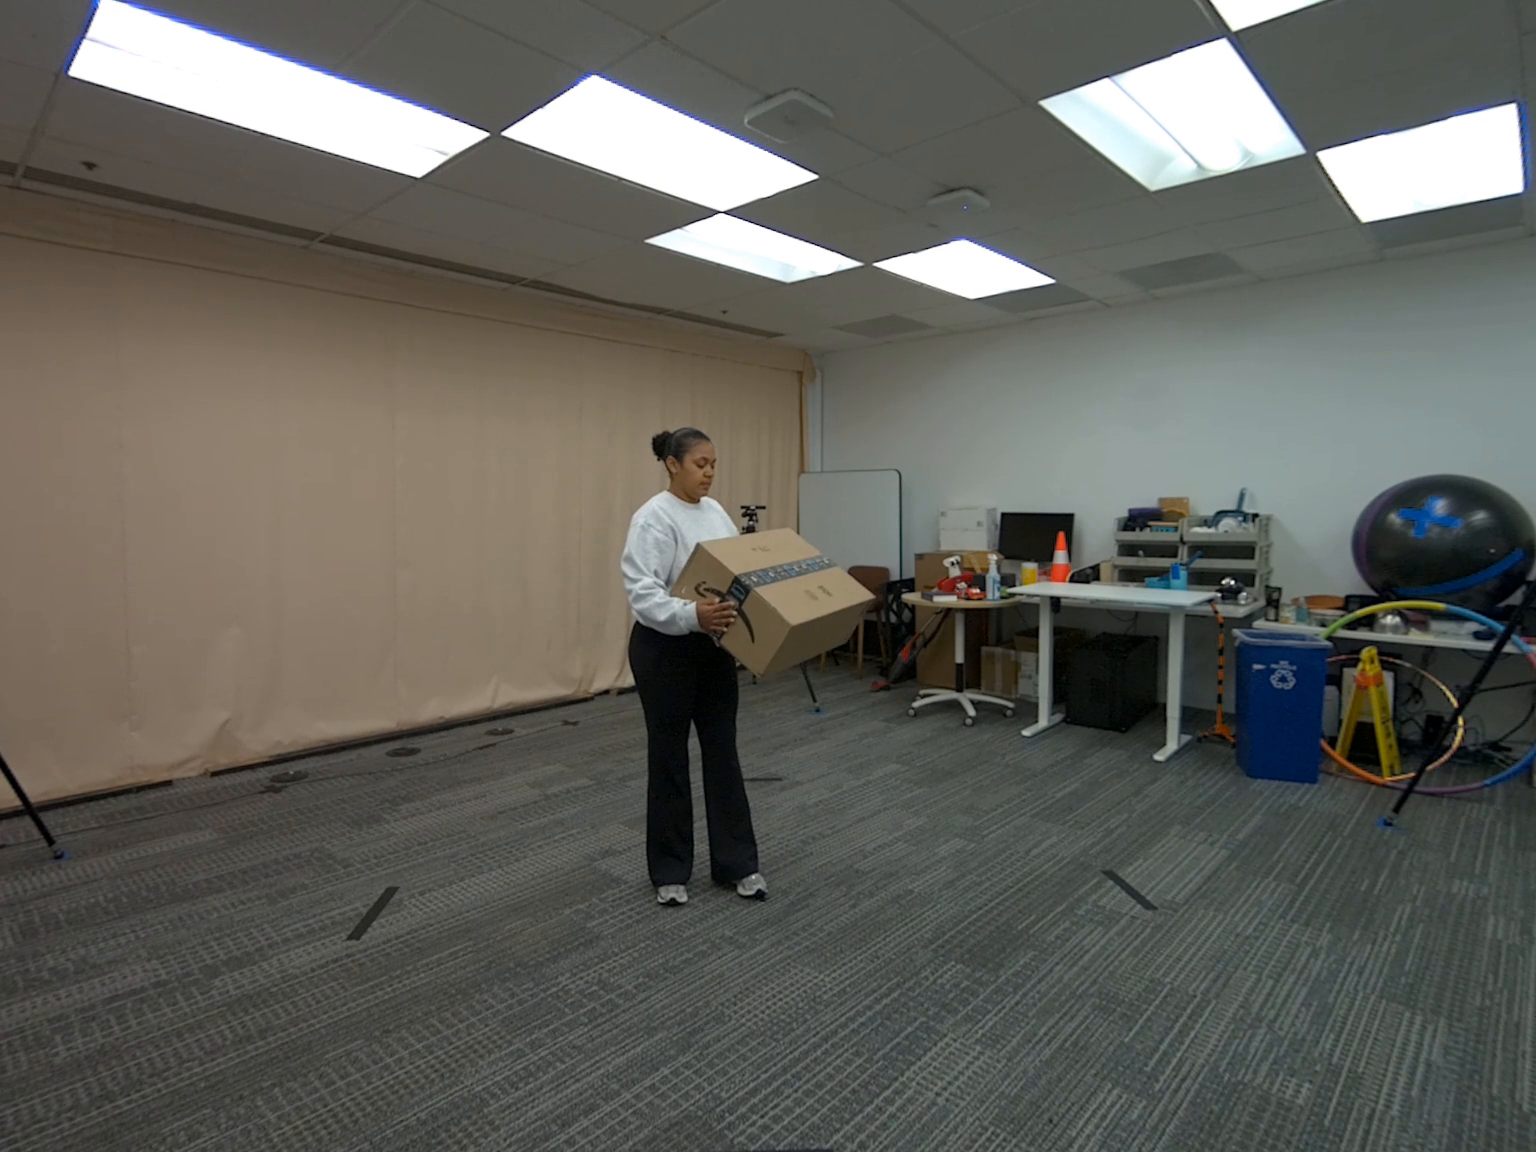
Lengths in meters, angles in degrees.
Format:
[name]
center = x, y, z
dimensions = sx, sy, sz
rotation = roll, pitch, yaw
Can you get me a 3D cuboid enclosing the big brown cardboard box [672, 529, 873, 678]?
[big brown cardboard box]
center = 0.020, 0.075, 2.798
dimensions = 0.429, 0.233, 0.573
rotation = 41, 29, 23
